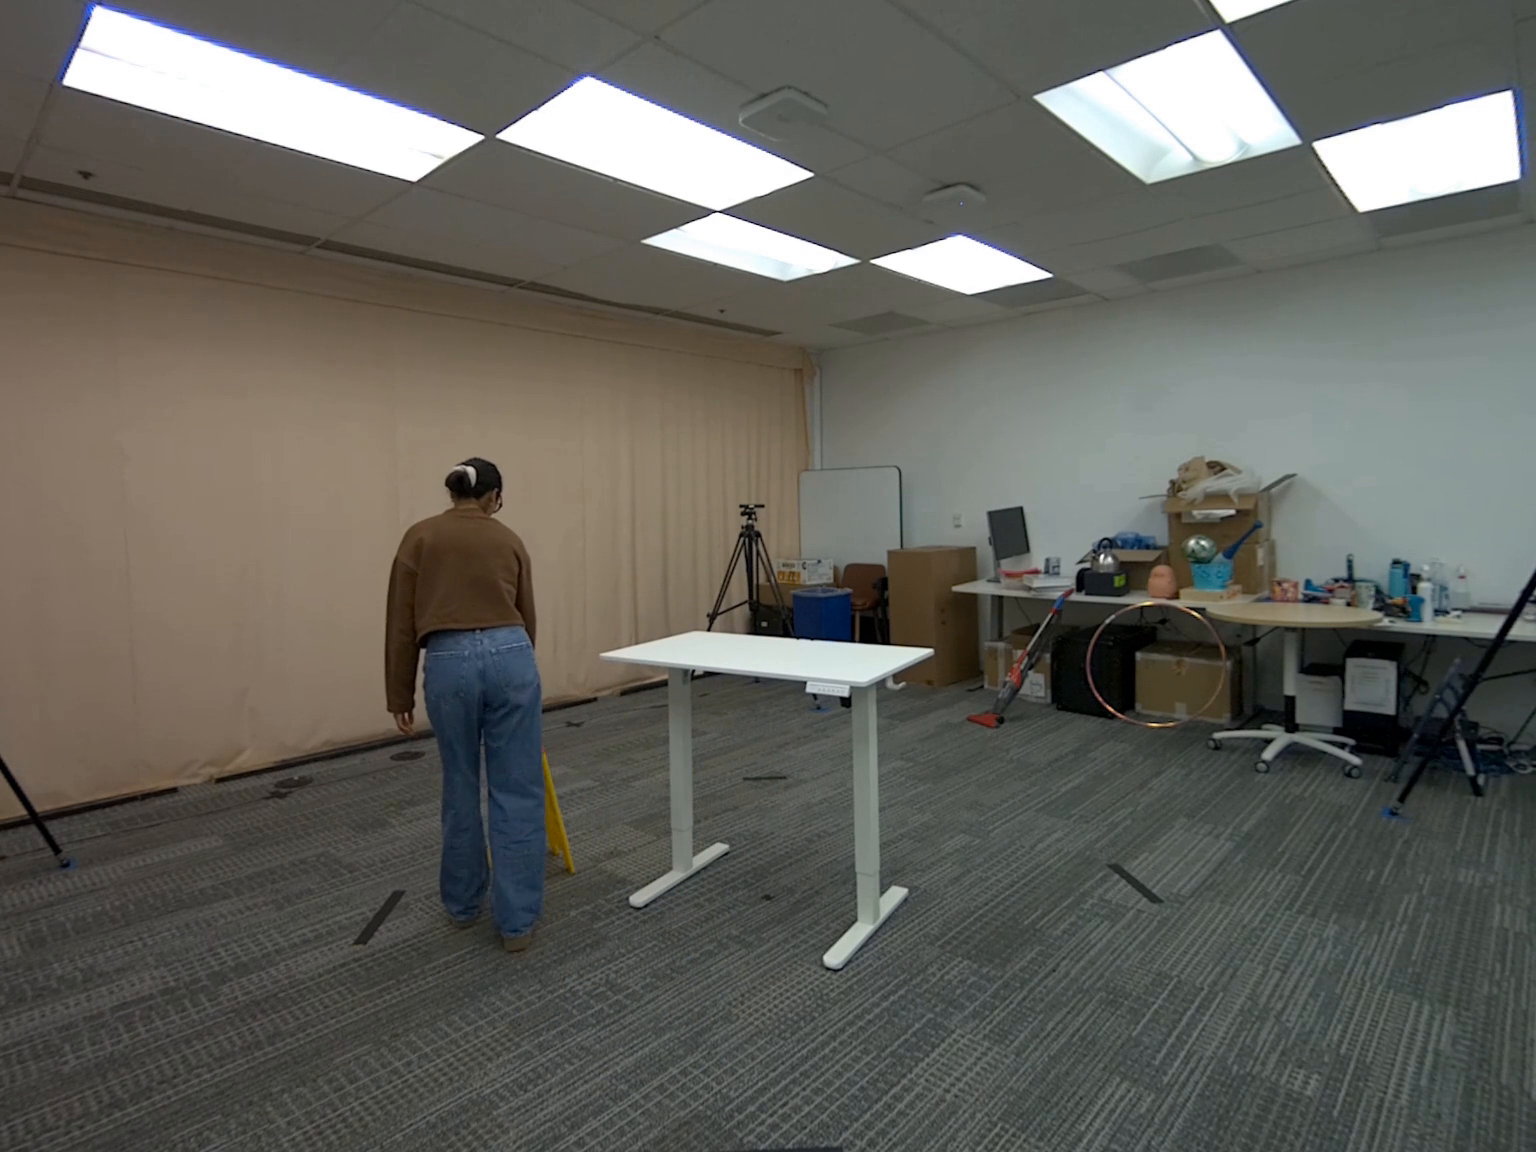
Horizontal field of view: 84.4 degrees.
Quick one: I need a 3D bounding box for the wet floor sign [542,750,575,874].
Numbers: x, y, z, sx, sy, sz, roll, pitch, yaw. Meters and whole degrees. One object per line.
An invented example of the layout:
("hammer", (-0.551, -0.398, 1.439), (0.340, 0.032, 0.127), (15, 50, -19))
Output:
("wet floor sign", (-0.945, 0.820, 3.254), (0.282, 0.645, 0.290), (-3, 3, -29))
